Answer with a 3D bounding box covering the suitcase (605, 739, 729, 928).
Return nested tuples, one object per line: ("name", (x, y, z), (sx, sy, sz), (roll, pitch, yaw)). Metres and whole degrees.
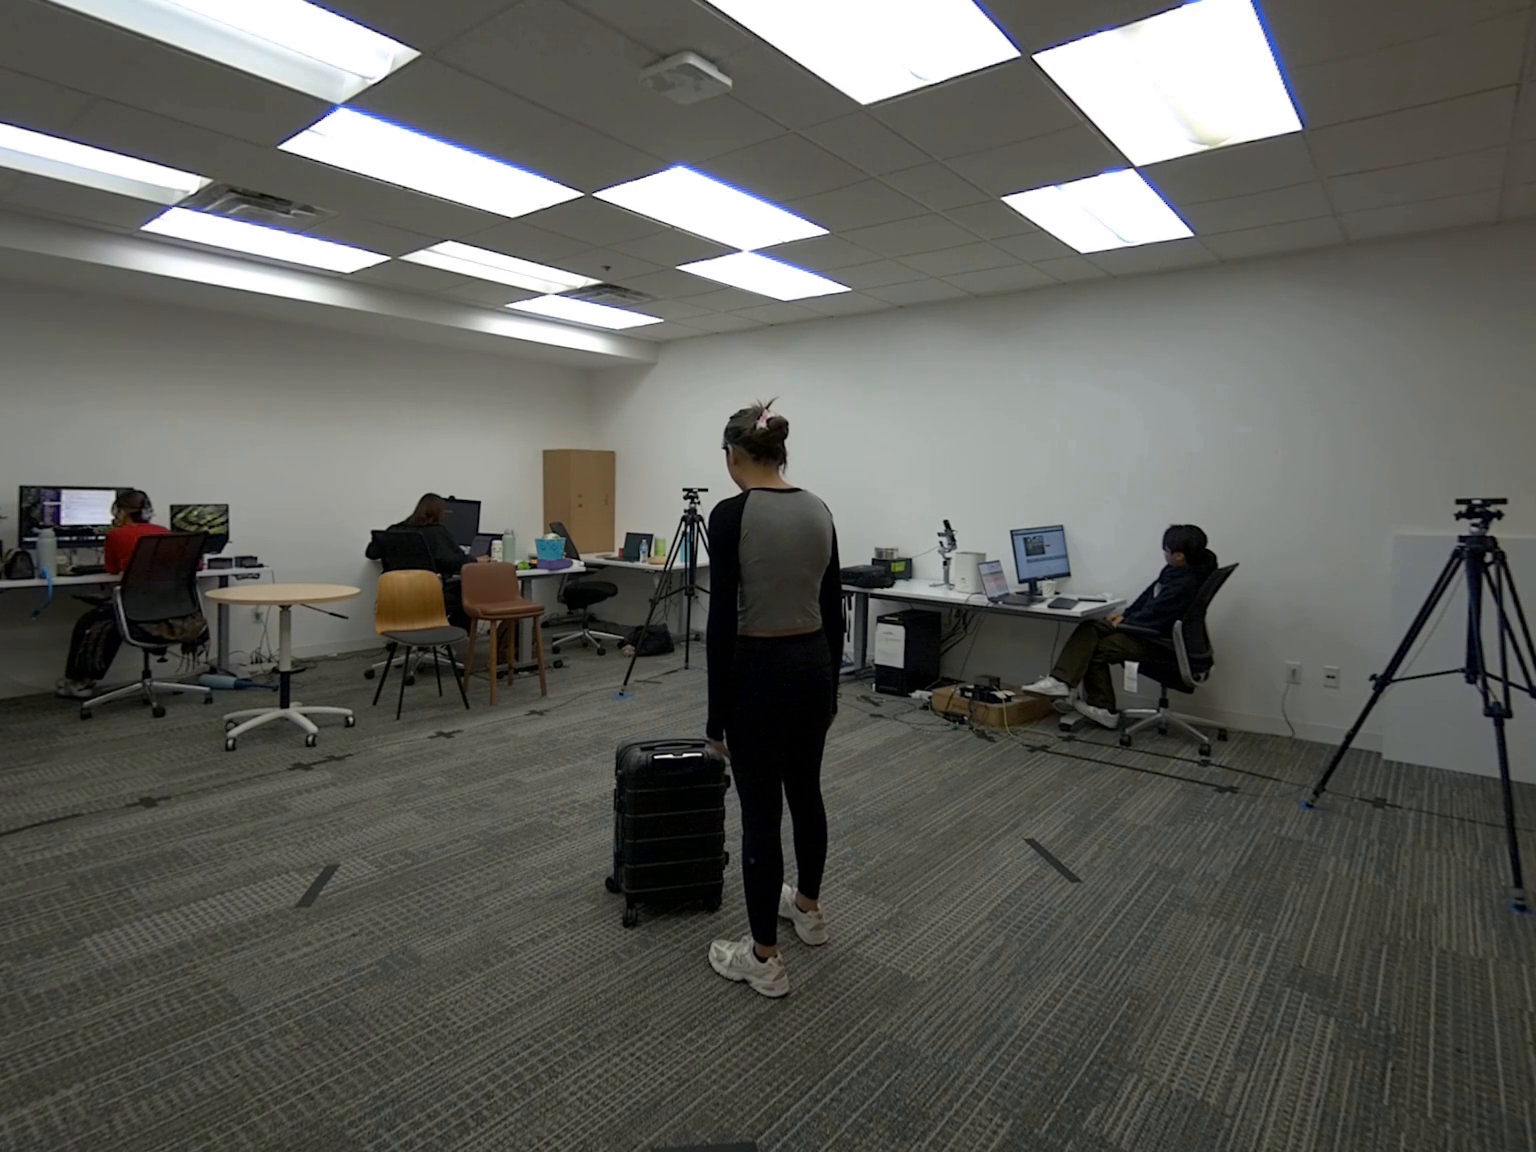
("suitcase", (-0.347, 0.814, 2.851), (0.369, 0.548, 0.253), (0, 3, -17))
